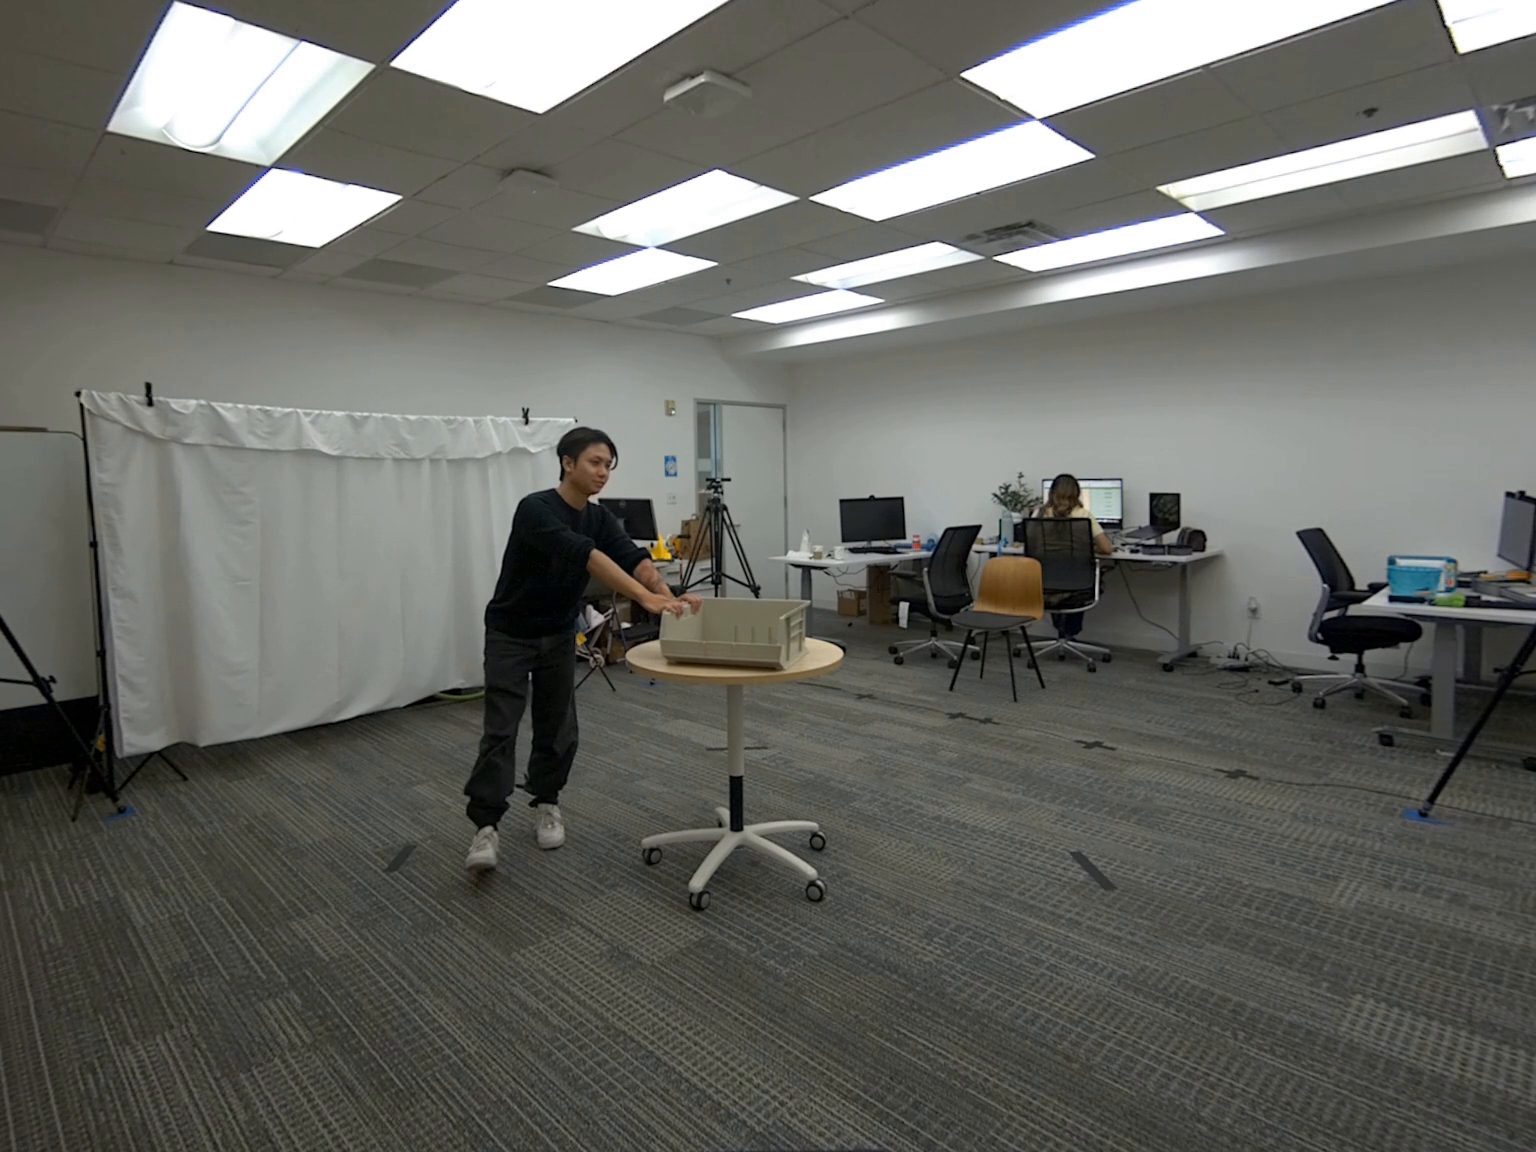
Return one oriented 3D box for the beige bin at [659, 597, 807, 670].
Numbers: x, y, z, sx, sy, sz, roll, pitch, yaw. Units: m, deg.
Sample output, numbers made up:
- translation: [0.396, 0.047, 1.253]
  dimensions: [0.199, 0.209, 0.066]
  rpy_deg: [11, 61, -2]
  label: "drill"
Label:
- translation: [-0.100, 0.189, 2.907]
  dimensions: [0.430, 0.188, 0.372]
  rpy_deg: [1, 4, 18]
  label: "beige bin"
